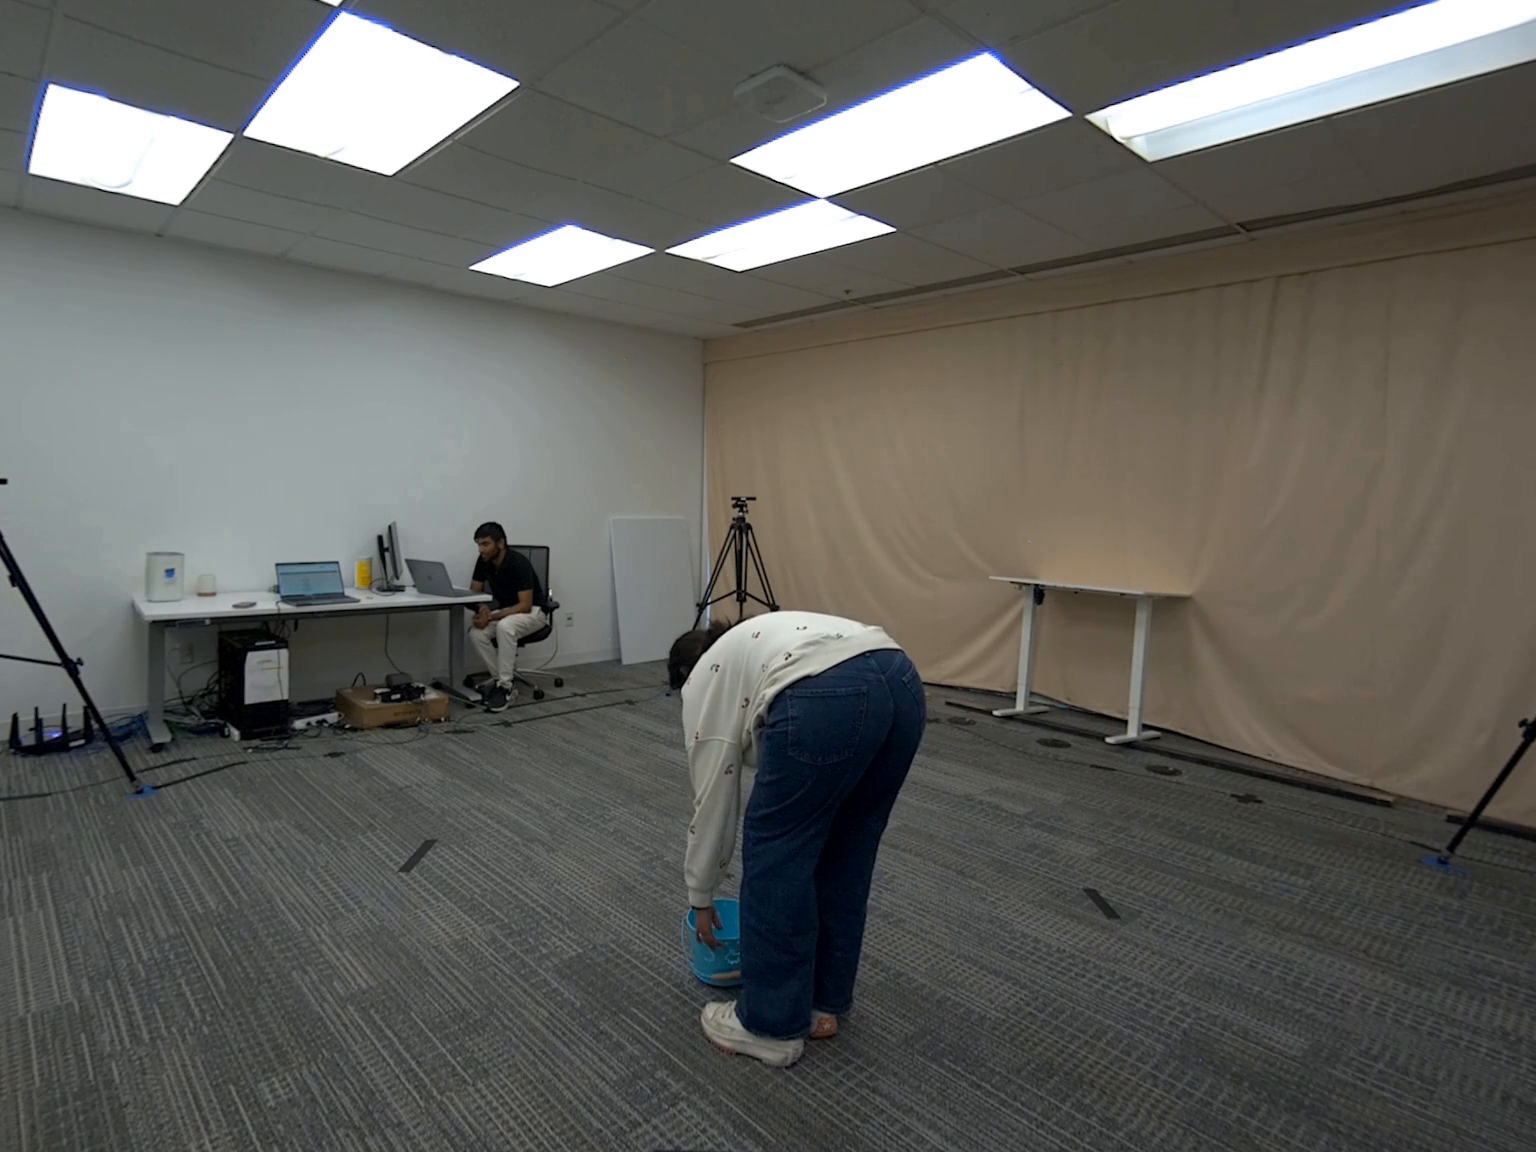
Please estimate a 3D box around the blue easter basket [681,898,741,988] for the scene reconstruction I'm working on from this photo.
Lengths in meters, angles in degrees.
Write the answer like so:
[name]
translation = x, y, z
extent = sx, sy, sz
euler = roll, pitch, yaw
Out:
[blue easter basket]
translation = -0.134, 1.066, 2.452
extent = 0.243, 0.155, 0.244
euler = 1, 5, -1
